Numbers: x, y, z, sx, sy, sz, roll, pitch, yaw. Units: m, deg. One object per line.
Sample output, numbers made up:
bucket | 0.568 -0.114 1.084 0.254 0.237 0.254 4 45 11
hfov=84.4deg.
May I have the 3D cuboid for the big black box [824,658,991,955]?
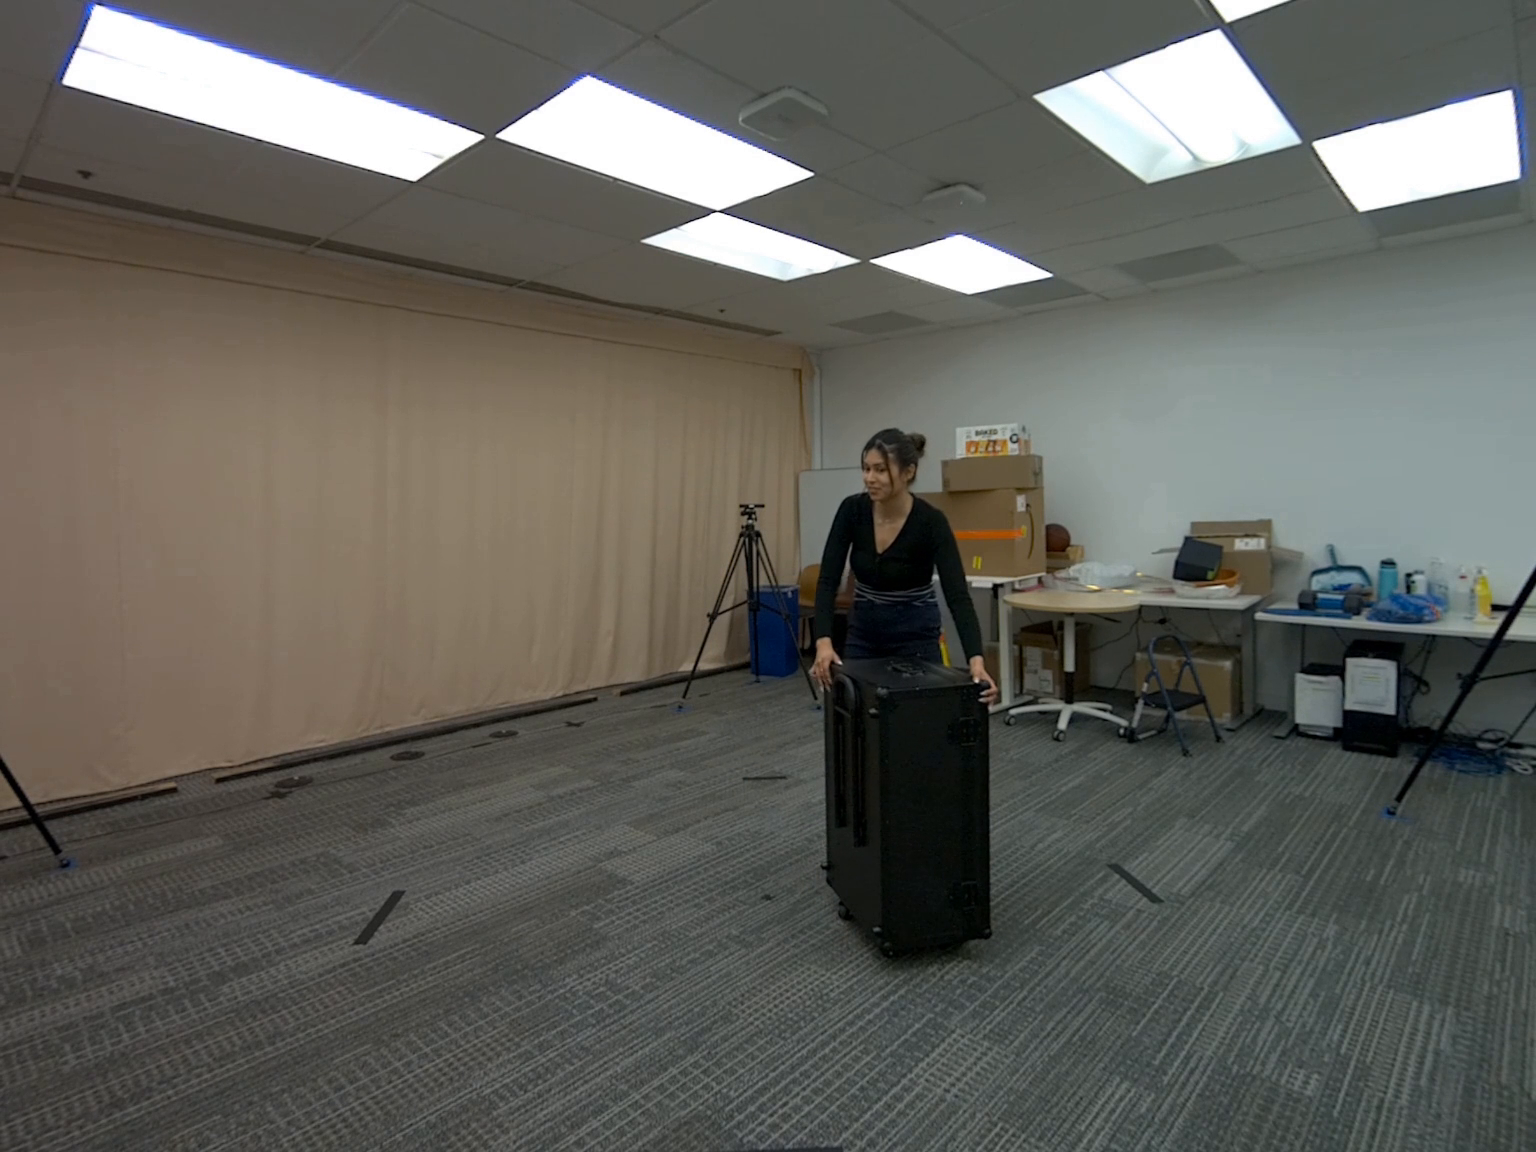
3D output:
big black box | 0.431 0.731 2.716 0.391 0.859 0.530 -3 4 -15
